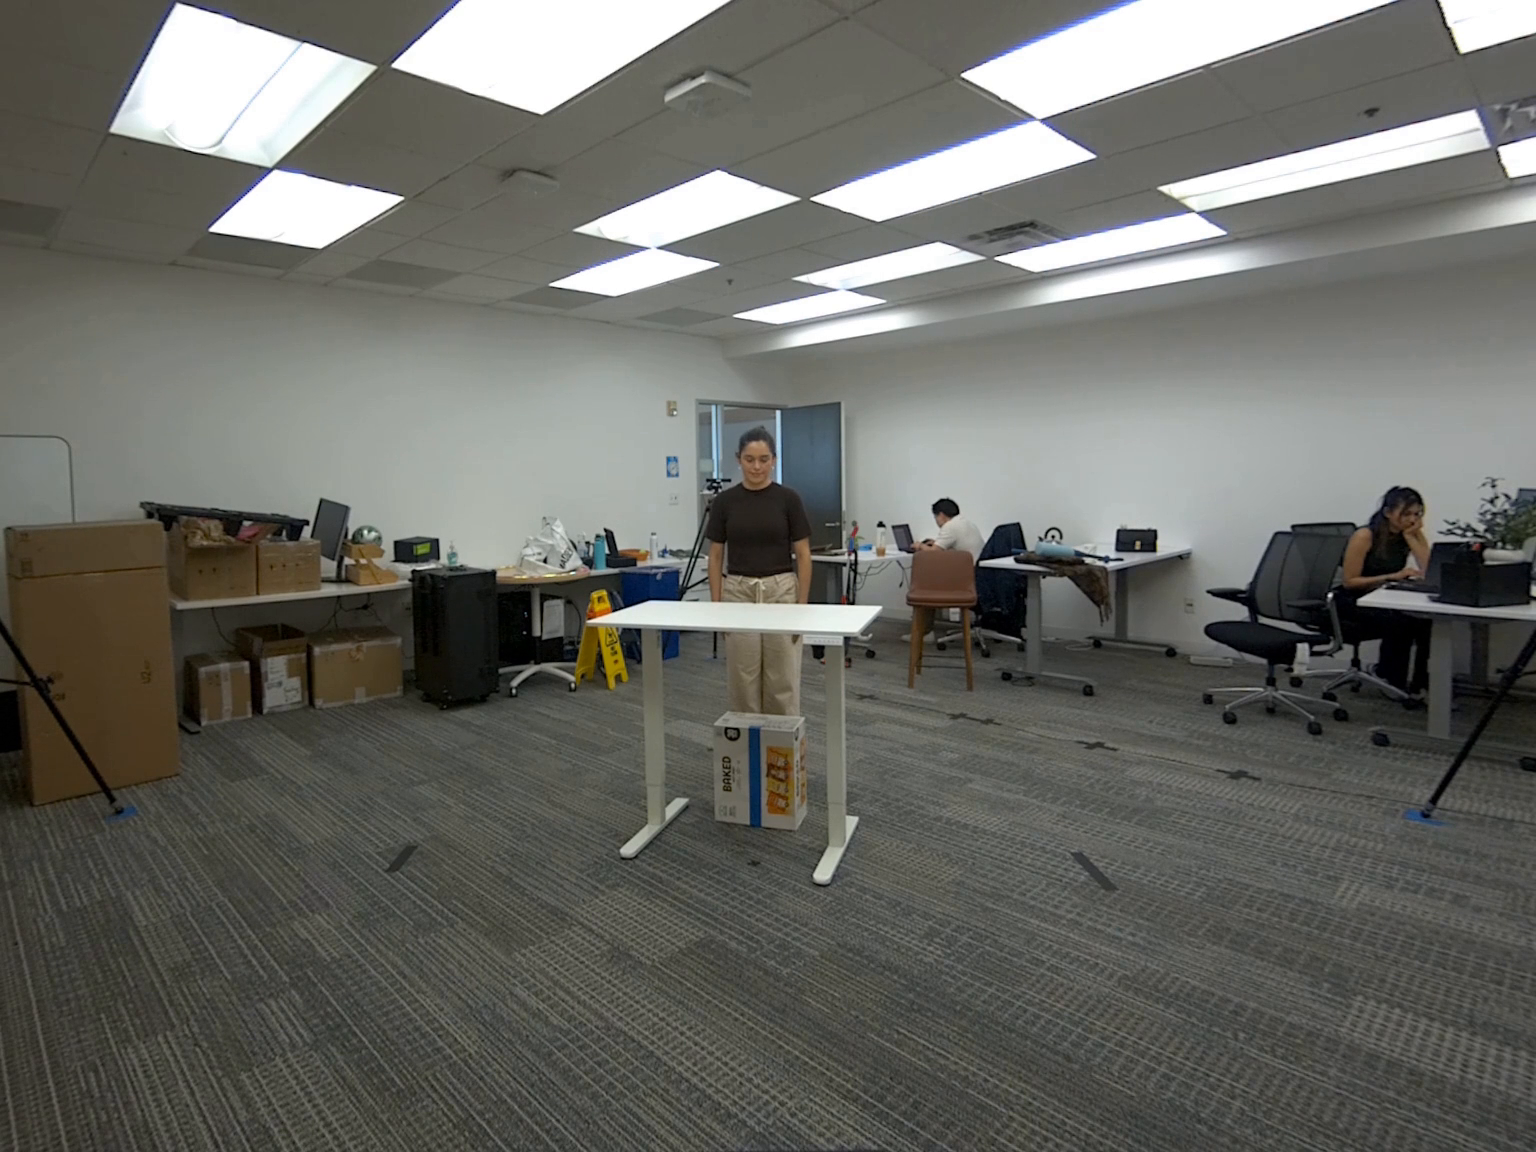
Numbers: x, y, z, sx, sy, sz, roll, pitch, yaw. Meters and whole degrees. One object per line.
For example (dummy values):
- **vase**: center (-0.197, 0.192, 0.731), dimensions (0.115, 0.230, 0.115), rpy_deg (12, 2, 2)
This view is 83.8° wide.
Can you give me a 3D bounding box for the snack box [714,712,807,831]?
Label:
- **snack box**: center (-0.031, 0.796, 3.515), dimensions (0.346, 0.403, 0.203), rpy_deg (0, 6, 18)
